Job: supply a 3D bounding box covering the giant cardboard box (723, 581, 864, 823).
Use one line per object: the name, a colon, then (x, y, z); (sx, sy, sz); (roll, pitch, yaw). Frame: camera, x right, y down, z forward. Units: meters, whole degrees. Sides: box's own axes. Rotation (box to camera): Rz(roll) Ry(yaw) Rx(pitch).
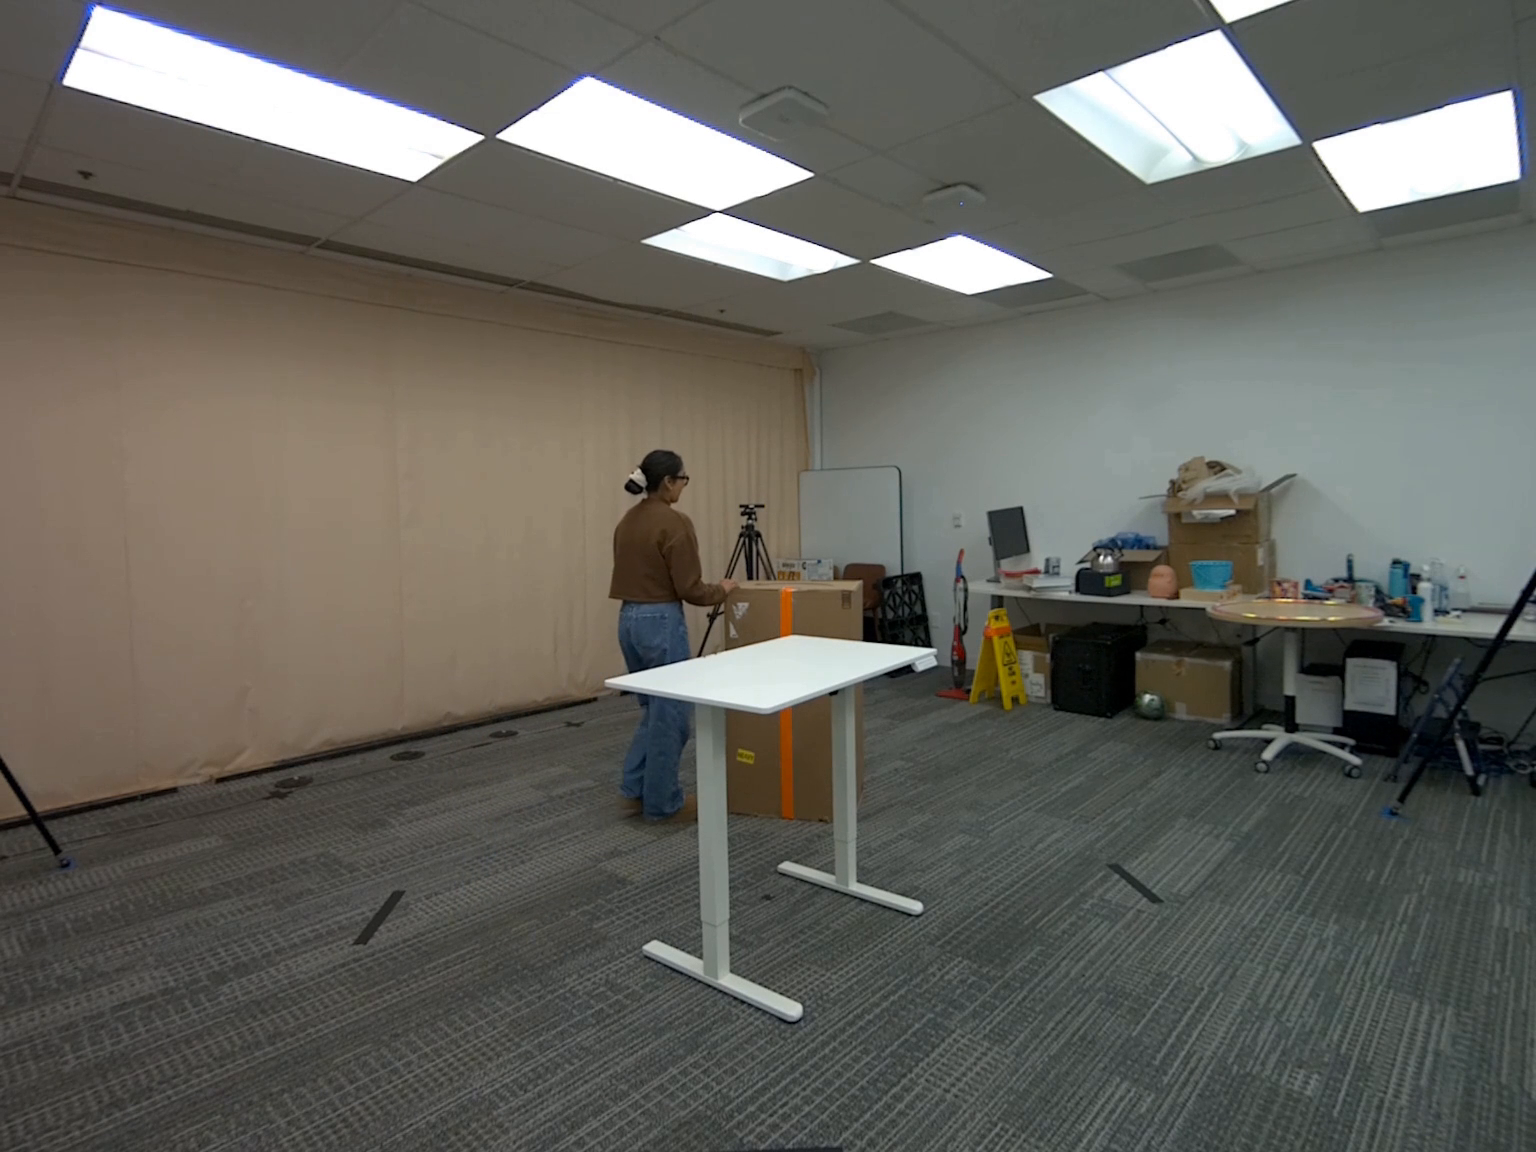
giant cardboard box: (0.138, 0.549, 3.911); (0.587, 1.024, 0.420); (0, 2, 15)
